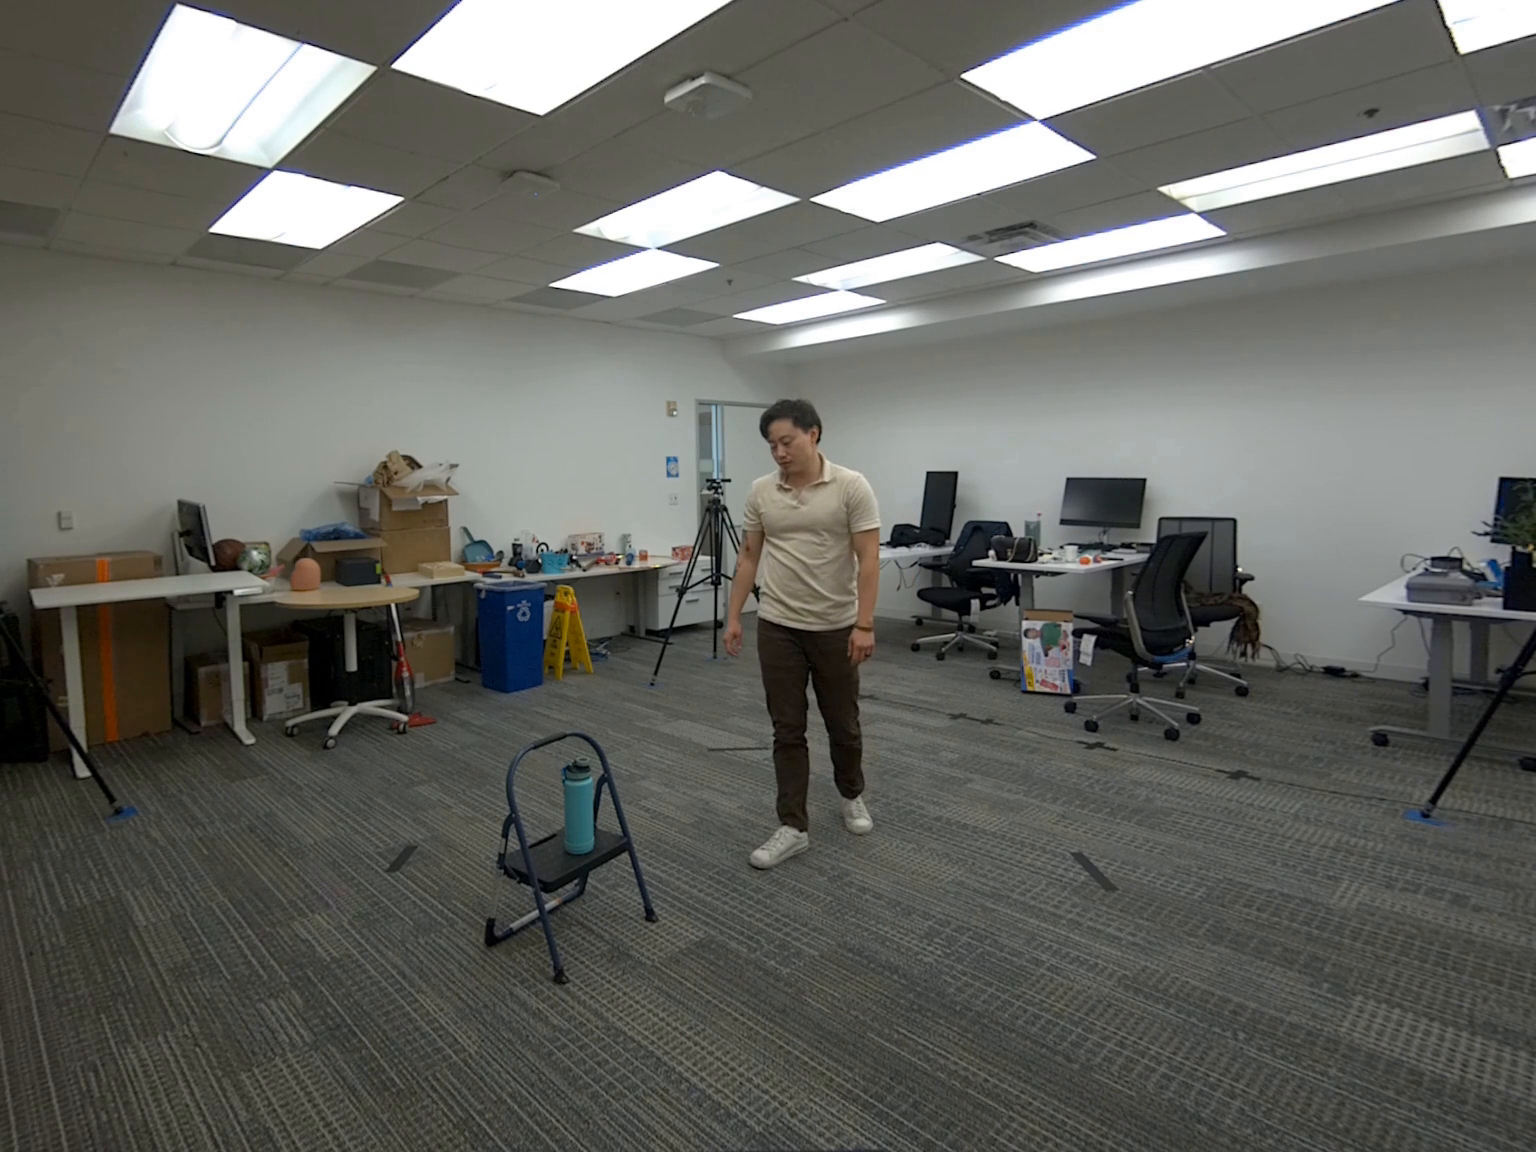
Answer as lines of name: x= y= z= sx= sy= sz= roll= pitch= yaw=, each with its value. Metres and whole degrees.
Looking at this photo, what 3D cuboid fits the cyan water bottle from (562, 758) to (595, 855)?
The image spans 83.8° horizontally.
cyan water bottle: x=-0.588 y=0.707 z=2.646 sx=0.092 sy=0.282 sz=0.093 roll=-3 pitch=3 yaw=-1
